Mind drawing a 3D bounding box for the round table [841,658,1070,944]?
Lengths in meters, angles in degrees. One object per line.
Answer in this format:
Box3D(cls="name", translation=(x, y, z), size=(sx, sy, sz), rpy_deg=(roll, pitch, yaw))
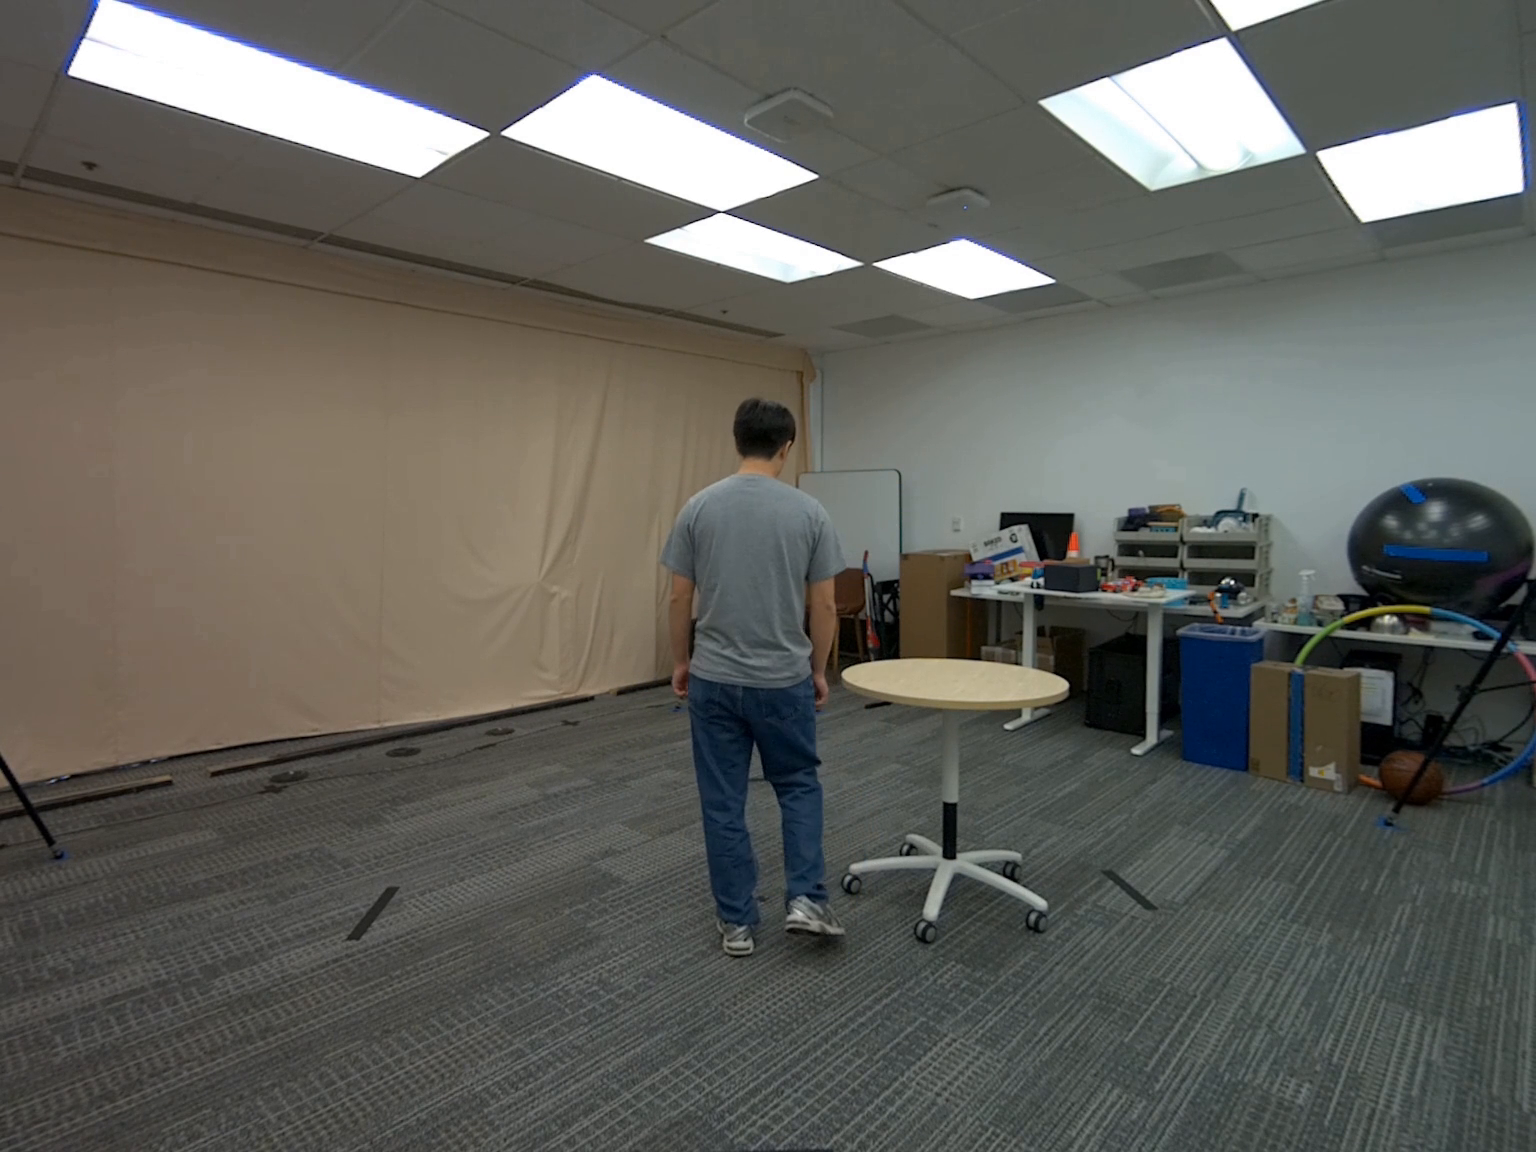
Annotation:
Box3D(cls="round table", translation=(0.648, 0.752, 2.985), size=(0.763, 0.792, 0.766), rpy_deg=(0, 3, -2))
